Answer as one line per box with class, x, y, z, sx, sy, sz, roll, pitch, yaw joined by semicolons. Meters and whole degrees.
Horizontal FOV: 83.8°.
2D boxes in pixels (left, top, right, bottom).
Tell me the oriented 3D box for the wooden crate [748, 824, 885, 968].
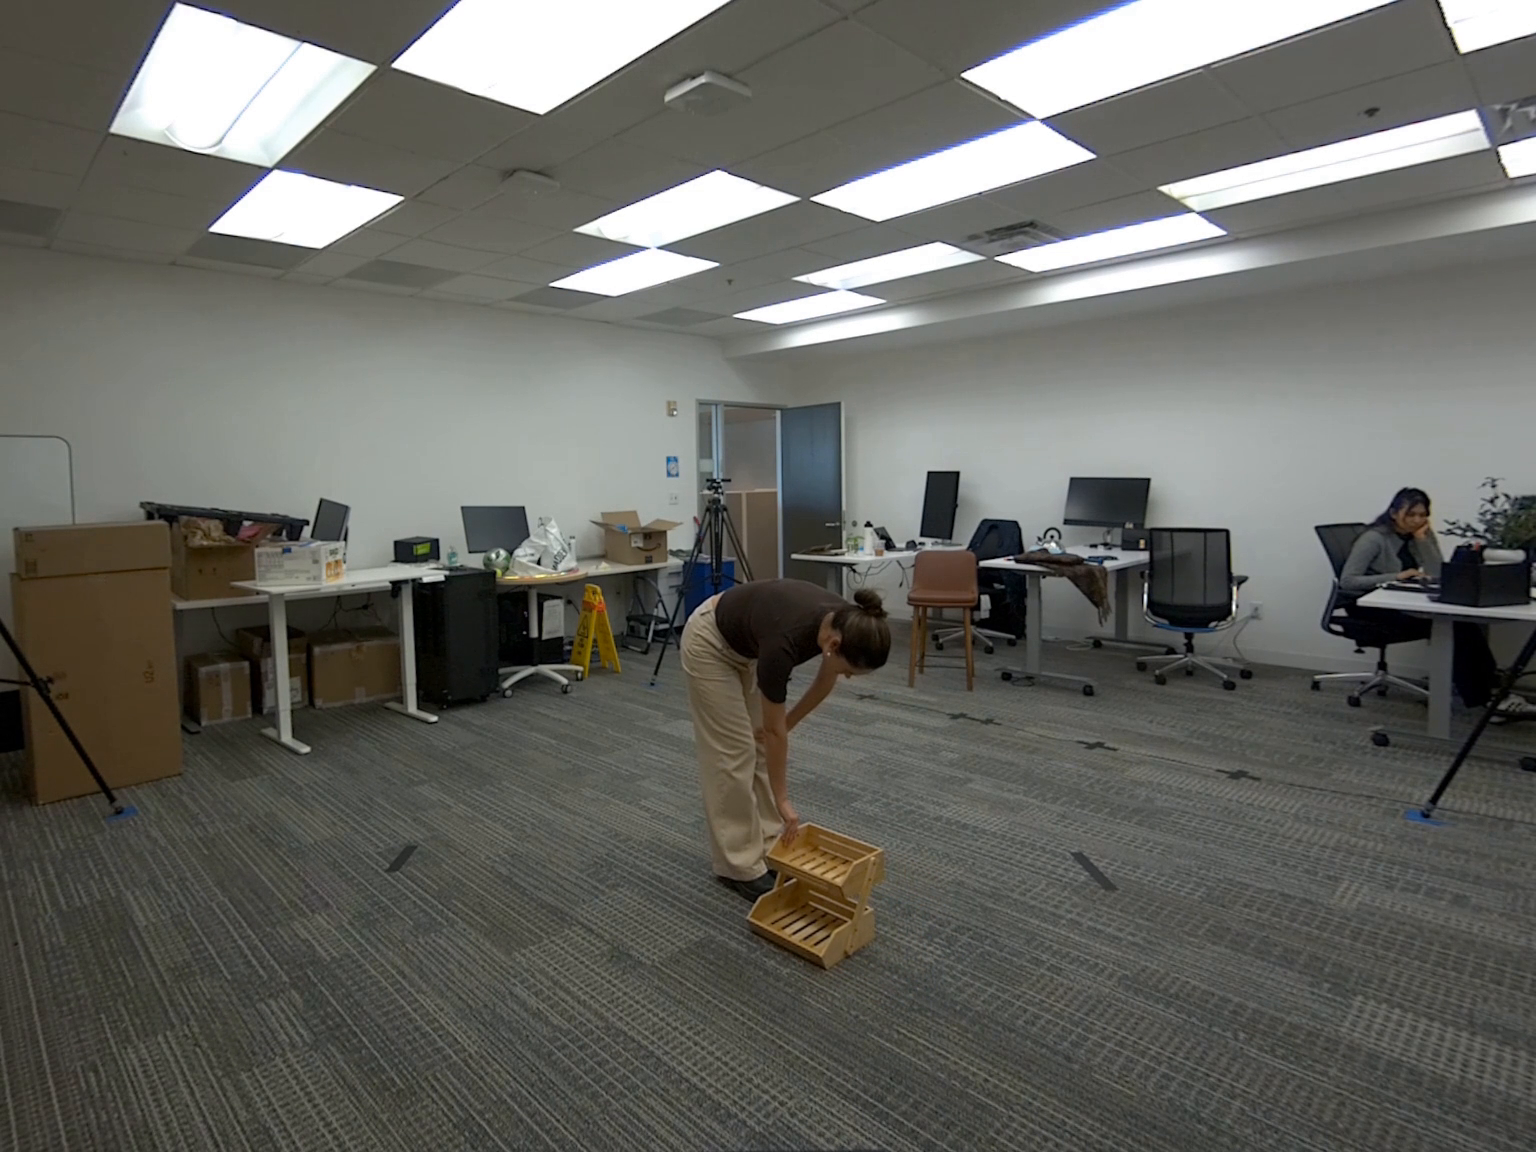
wooden crate;0.147;0.962;2.615;0.334;0.272;0.294;4;6;45
